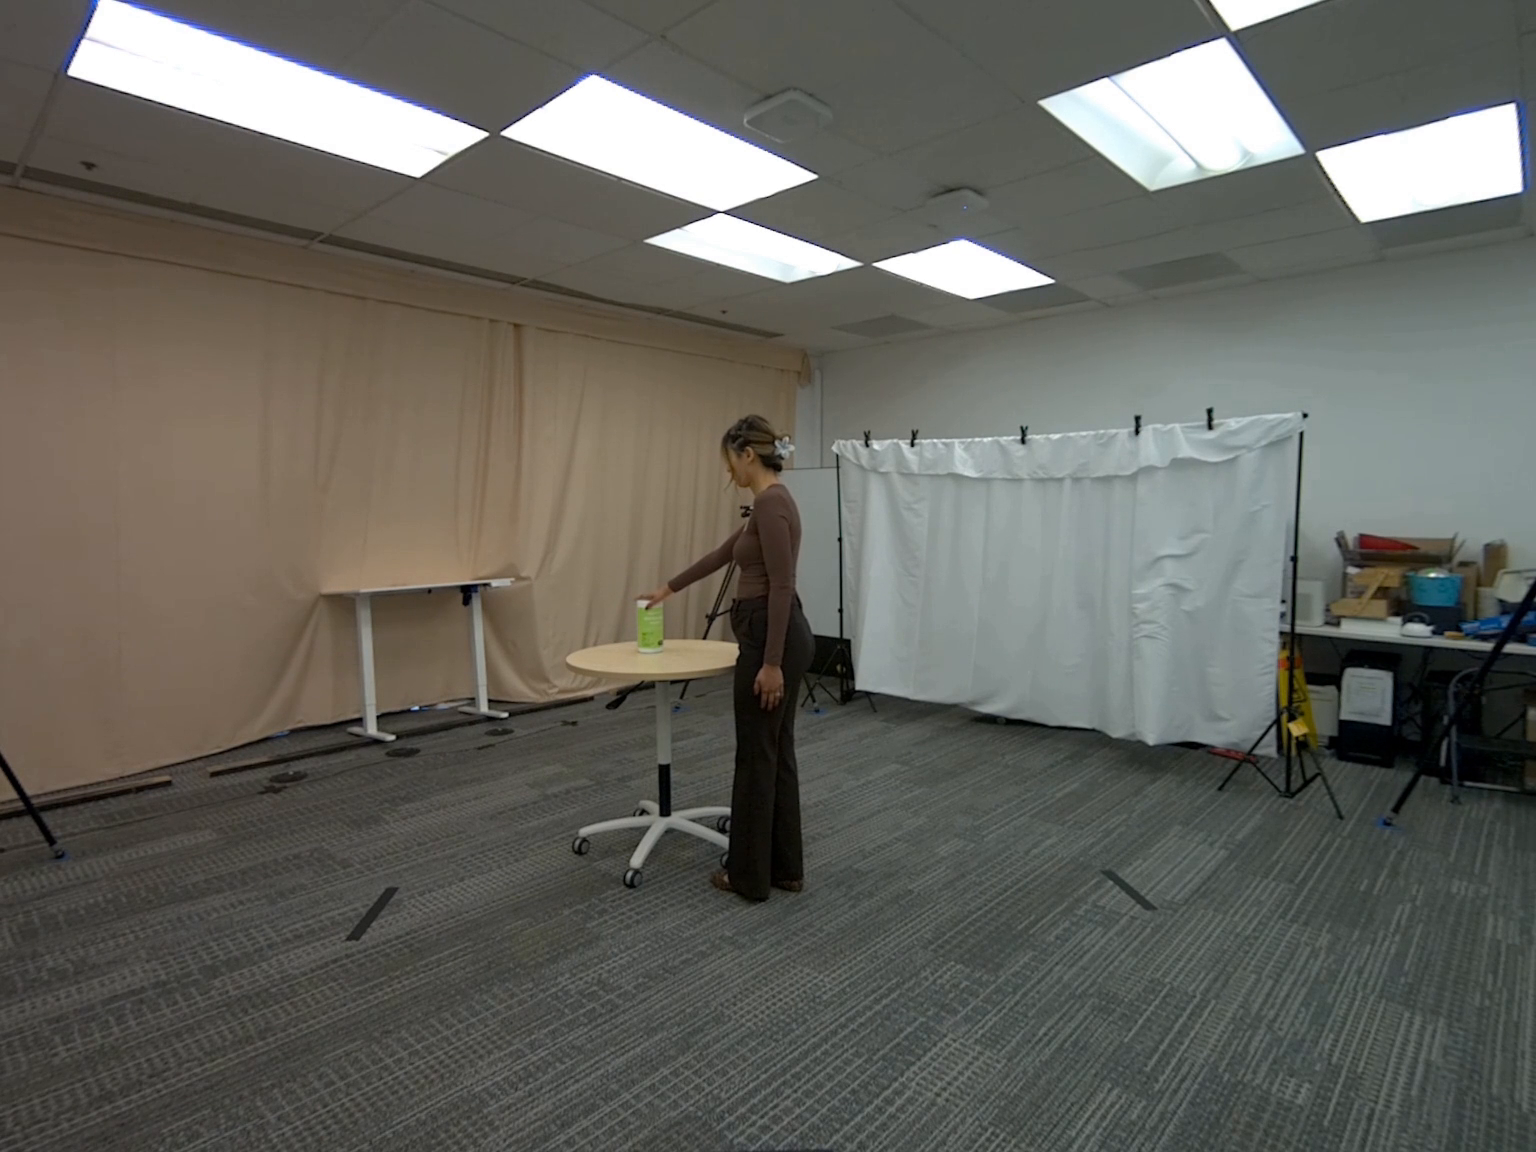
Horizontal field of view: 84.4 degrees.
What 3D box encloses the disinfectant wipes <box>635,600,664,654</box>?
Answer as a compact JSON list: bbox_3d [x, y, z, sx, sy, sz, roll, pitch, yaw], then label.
[{"bbox_3d":[-0.488,0.205,3.471,0.118,0.217,0.118,1,4,-2],"label":"disinfectant wipes"}]
